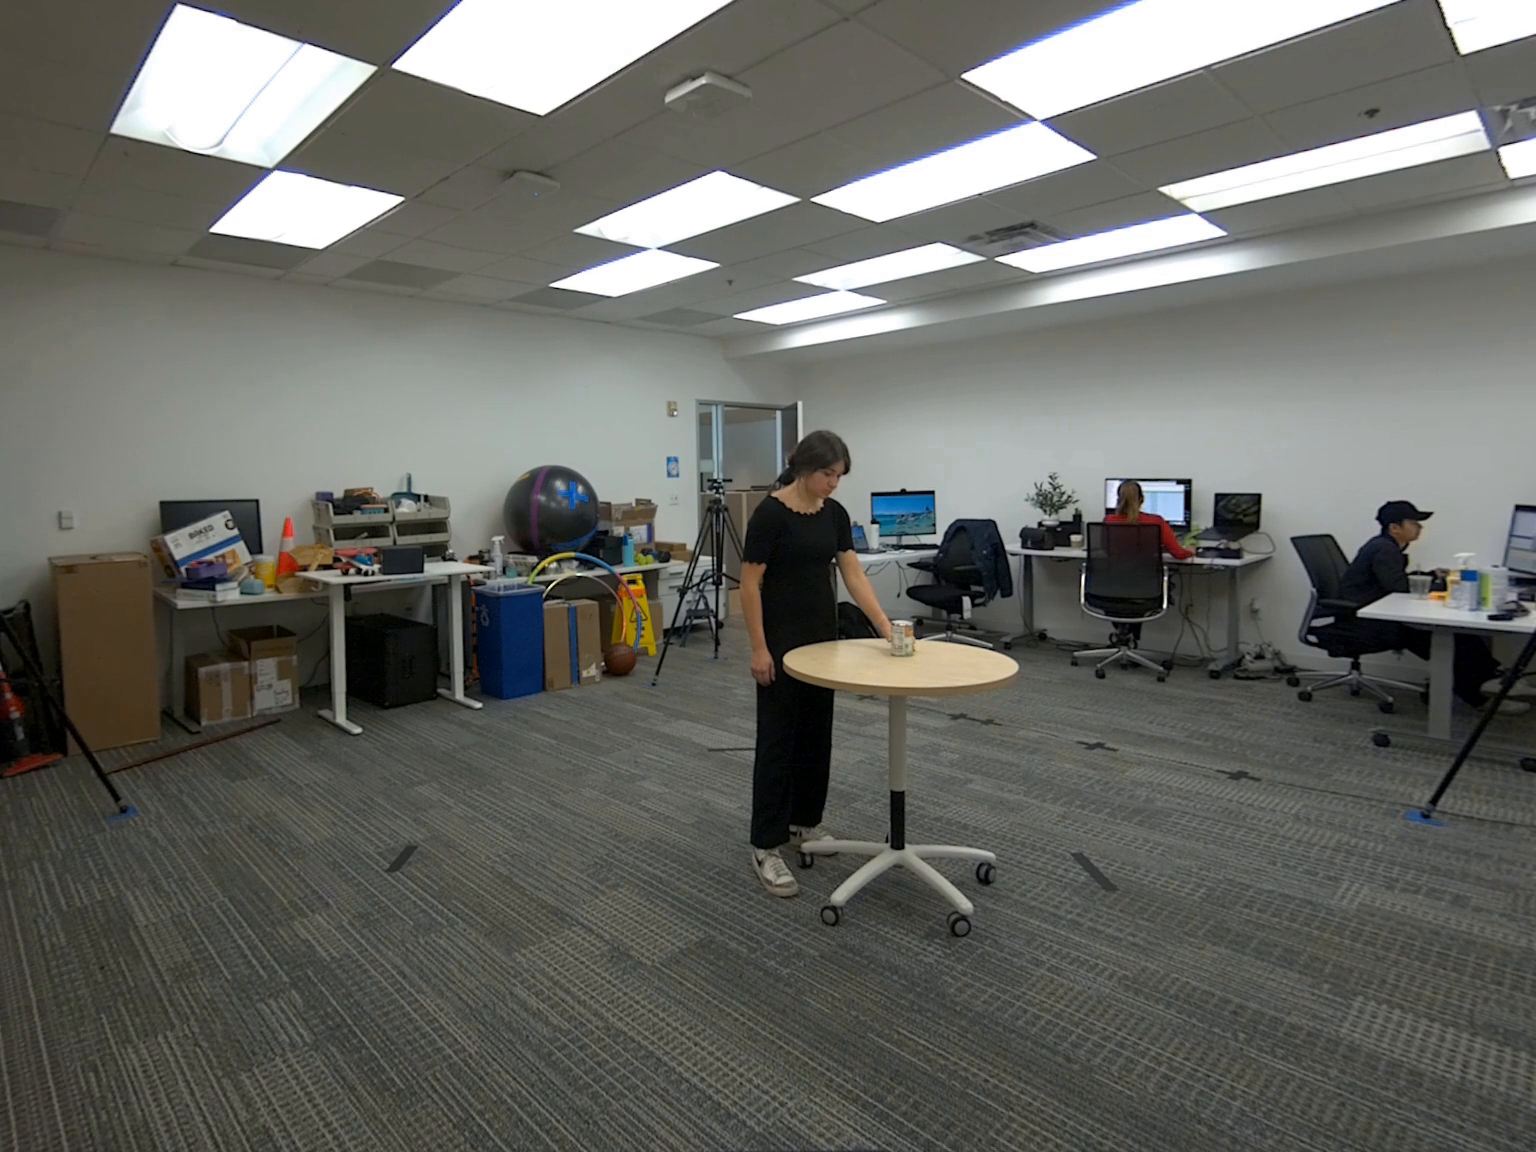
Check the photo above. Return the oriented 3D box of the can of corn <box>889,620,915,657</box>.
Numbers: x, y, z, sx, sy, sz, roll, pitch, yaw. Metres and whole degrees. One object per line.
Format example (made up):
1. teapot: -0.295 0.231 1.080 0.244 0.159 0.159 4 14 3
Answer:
1. can of corn: 0.470 0.219 2.941 0.074 0.110 0.074 0 4 -2
